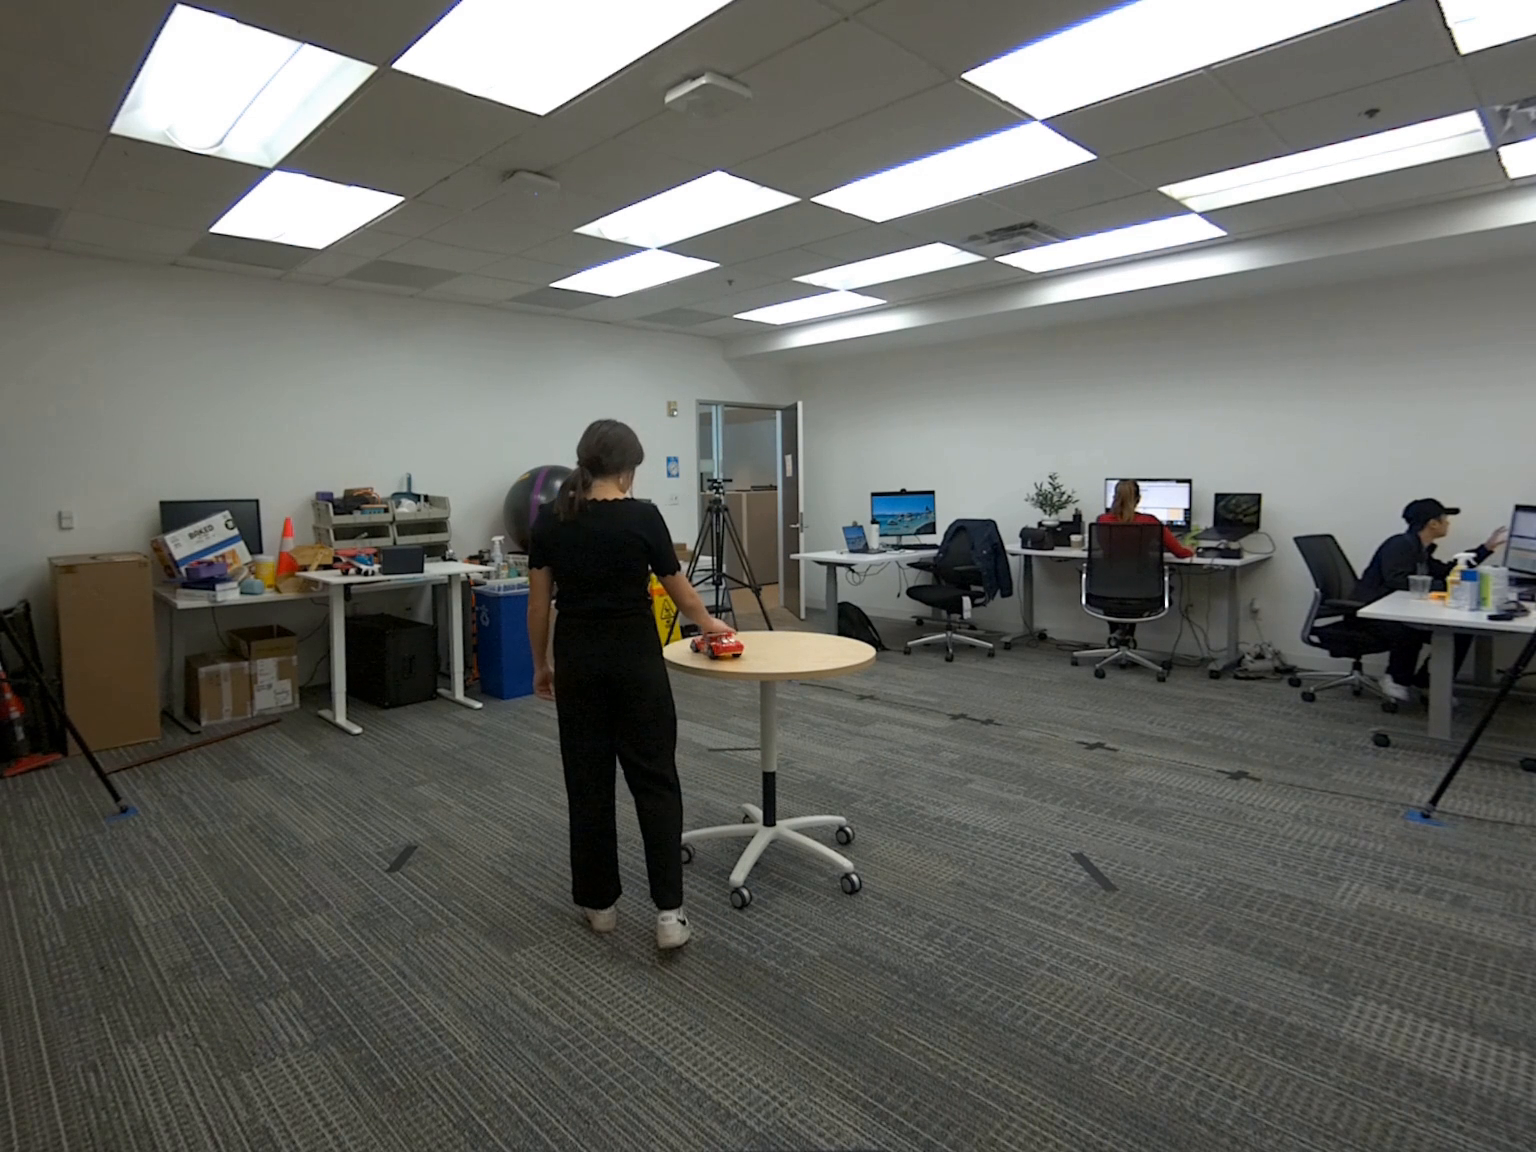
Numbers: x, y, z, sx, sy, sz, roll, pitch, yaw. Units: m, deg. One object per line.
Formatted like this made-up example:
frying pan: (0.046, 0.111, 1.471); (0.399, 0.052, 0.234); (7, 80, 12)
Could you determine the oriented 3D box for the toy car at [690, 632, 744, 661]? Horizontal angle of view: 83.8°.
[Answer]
toy car: (-0.164, 0.246, 2.961); (0.128, 0.084, 0.258); (-2, -6, -24)
